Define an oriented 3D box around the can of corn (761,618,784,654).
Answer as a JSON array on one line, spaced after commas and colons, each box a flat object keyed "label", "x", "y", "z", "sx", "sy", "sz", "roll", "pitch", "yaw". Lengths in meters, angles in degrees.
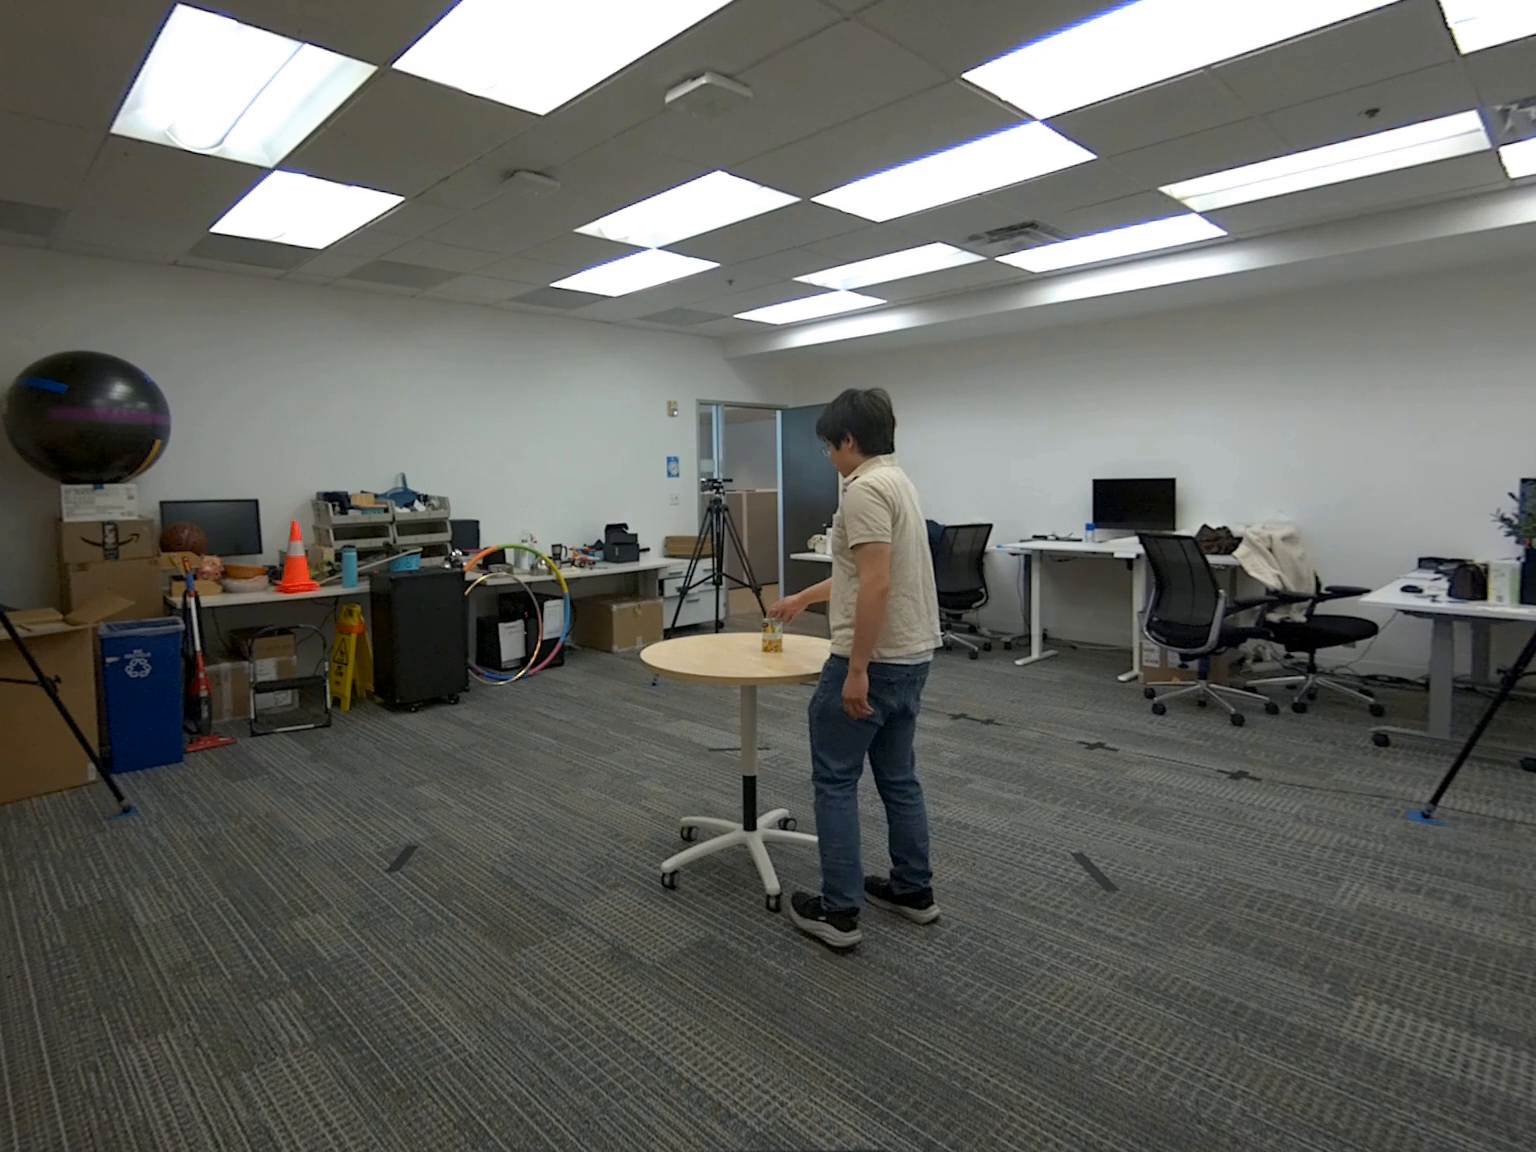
[{"label": "can of corn", "x": 0.017, "y": 0.213, "z": 3.051, "sx": 0.074, "sy": 0.111, "sz": 0.074, "roll": 2, "pitch": 2, "yaw": -2}]
